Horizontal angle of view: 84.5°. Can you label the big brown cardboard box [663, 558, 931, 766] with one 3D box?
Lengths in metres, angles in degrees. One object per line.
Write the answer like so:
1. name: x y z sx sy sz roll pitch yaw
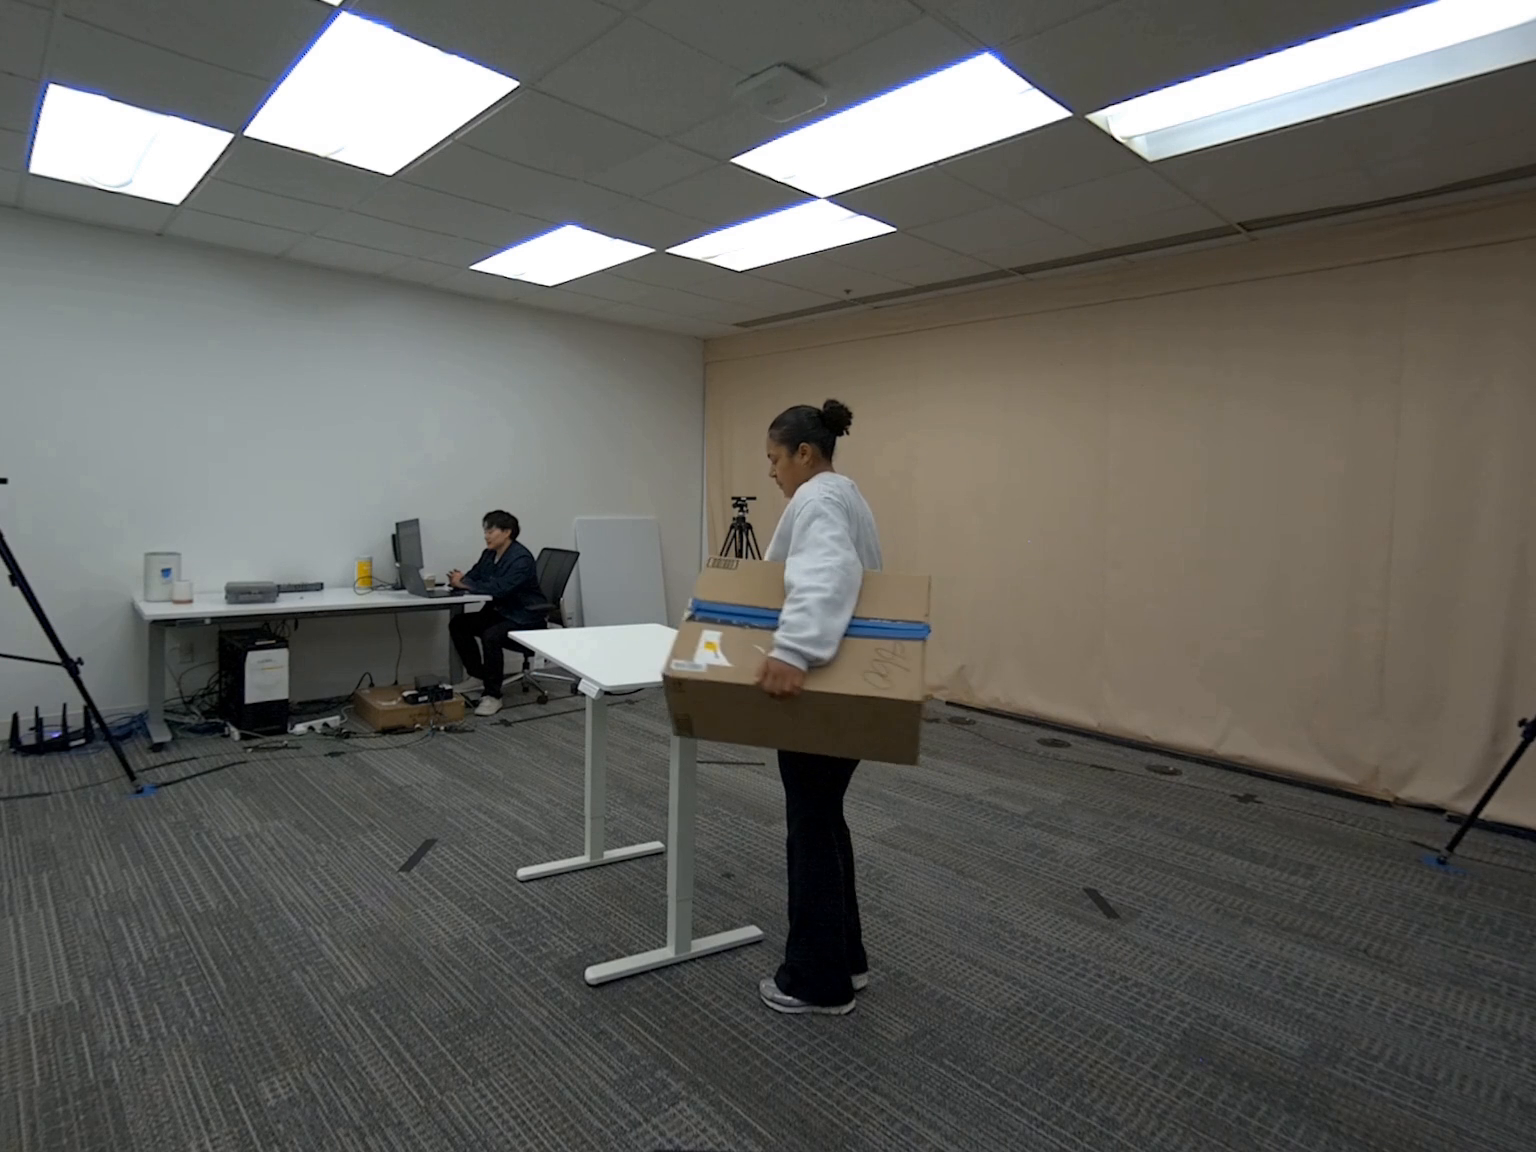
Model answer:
1. big brown cardboard box: 0.077 0.179 2.015 0.595 0.227 0.423 4 40 12
